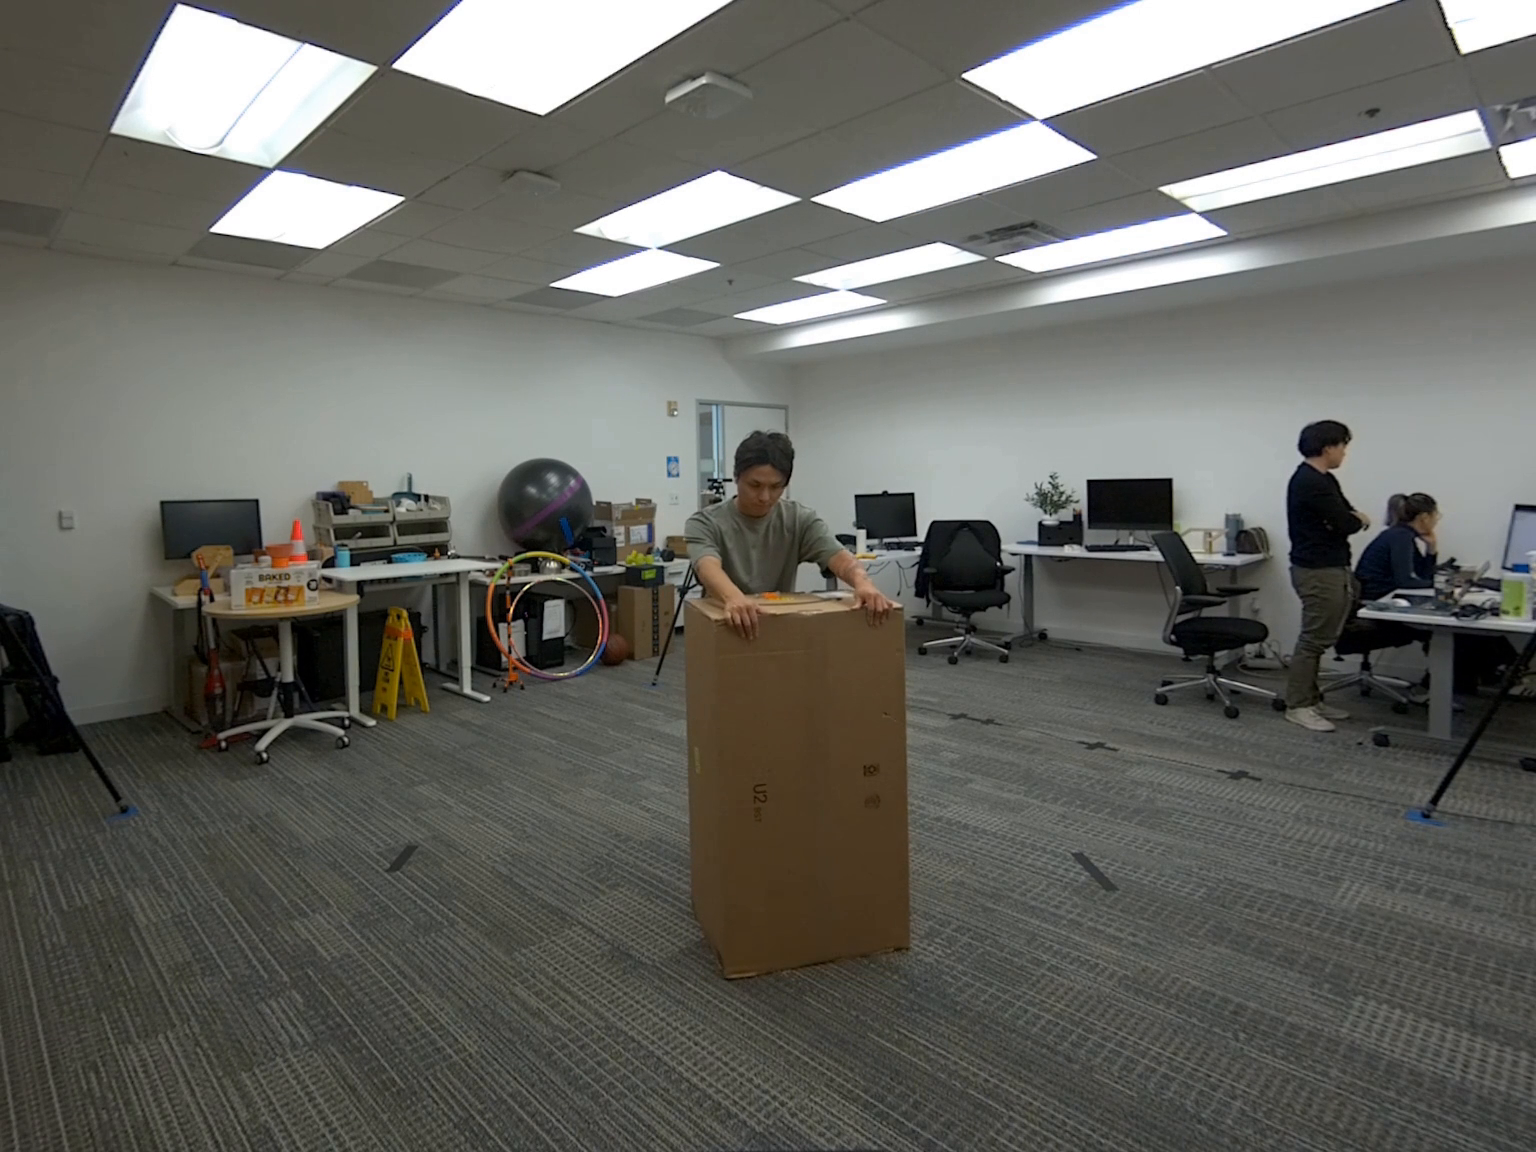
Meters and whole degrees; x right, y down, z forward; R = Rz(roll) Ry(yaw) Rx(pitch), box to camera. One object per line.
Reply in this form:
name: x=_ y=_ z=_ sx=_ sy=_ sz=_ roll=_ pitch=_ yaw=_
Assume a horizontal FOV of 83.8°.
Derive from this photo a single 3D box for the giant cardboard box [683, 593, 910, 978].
giant cardboard box: x=0.079 y=0.587 z=2.625 sx=0.570 sy=1.022 sz=0.434 roll=-2 pitch=4 yaw=-15
